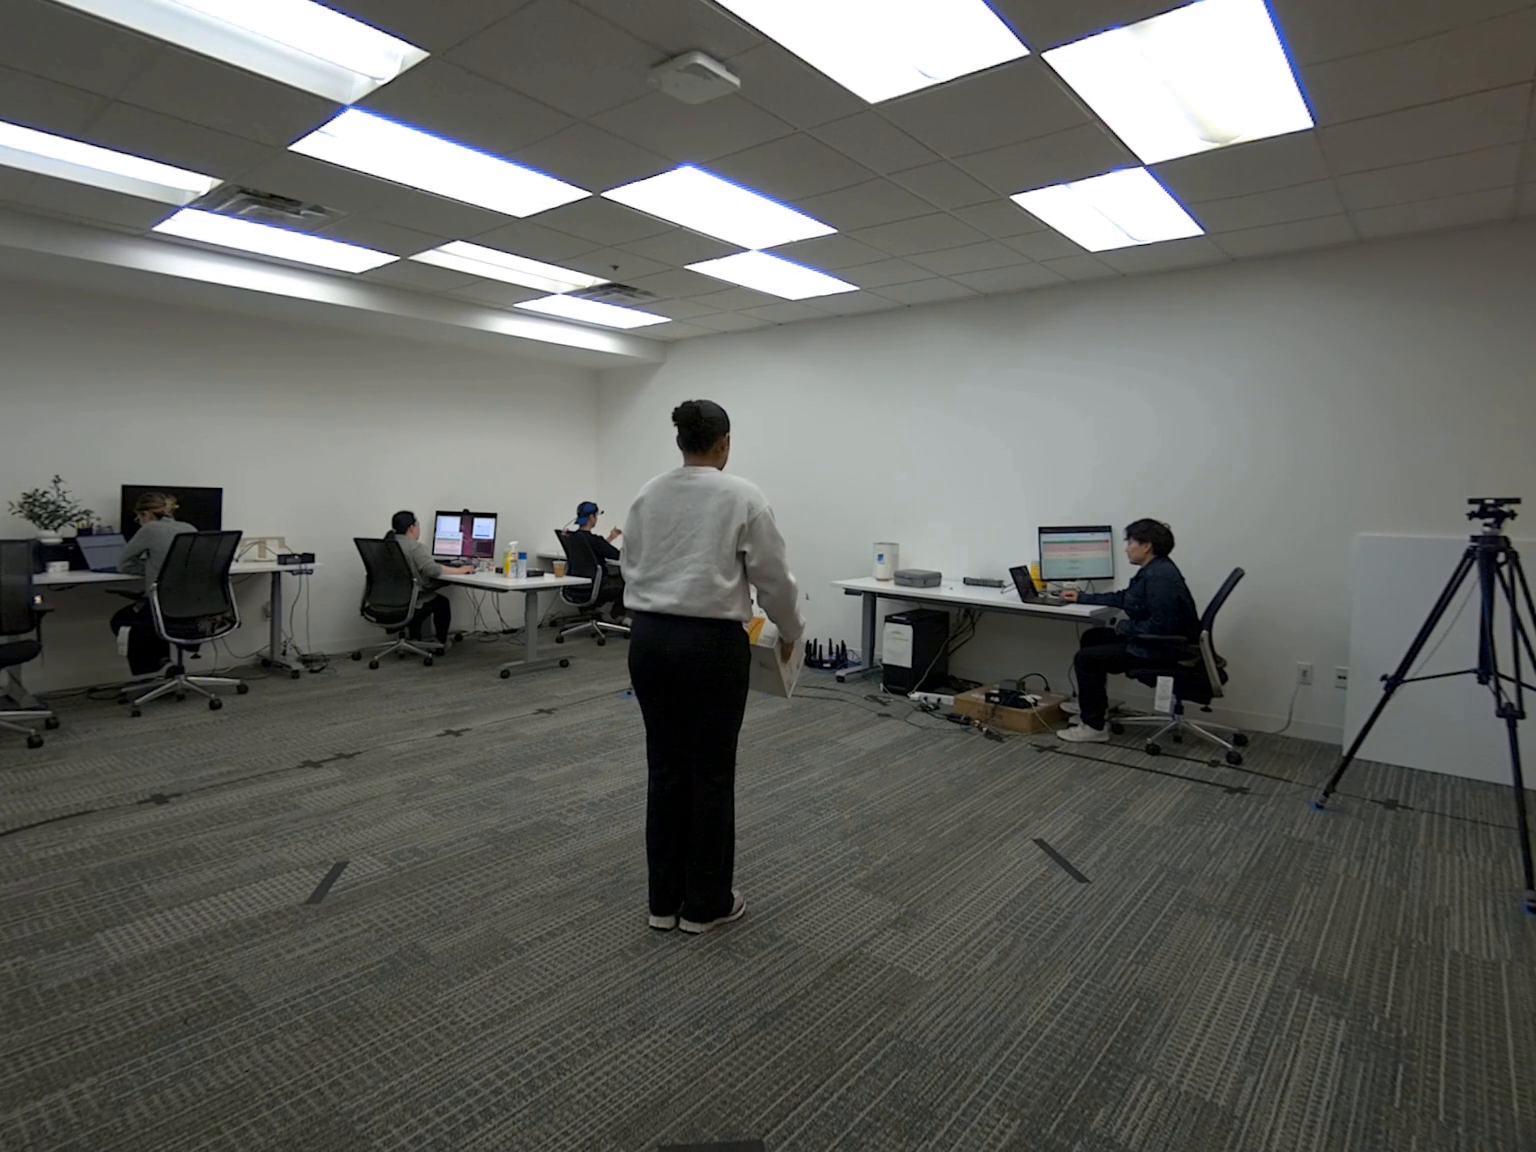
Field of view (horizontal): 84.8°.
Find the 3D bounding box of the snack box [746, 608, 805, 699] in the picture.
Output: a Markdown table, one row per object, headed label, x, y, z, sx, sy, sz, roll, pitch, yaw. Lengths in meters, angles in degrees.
| label | x | y | z | sx | sy | sz | roll | pitch | yaw |
| --- | --- | --- | --- | --- | --- | --- | --- | --- | --- |
| snack box | -0.112 | 0.202 | 3.060 | 0.415 | 0.208 | 0.328 | 10 | -35 | 21 |
